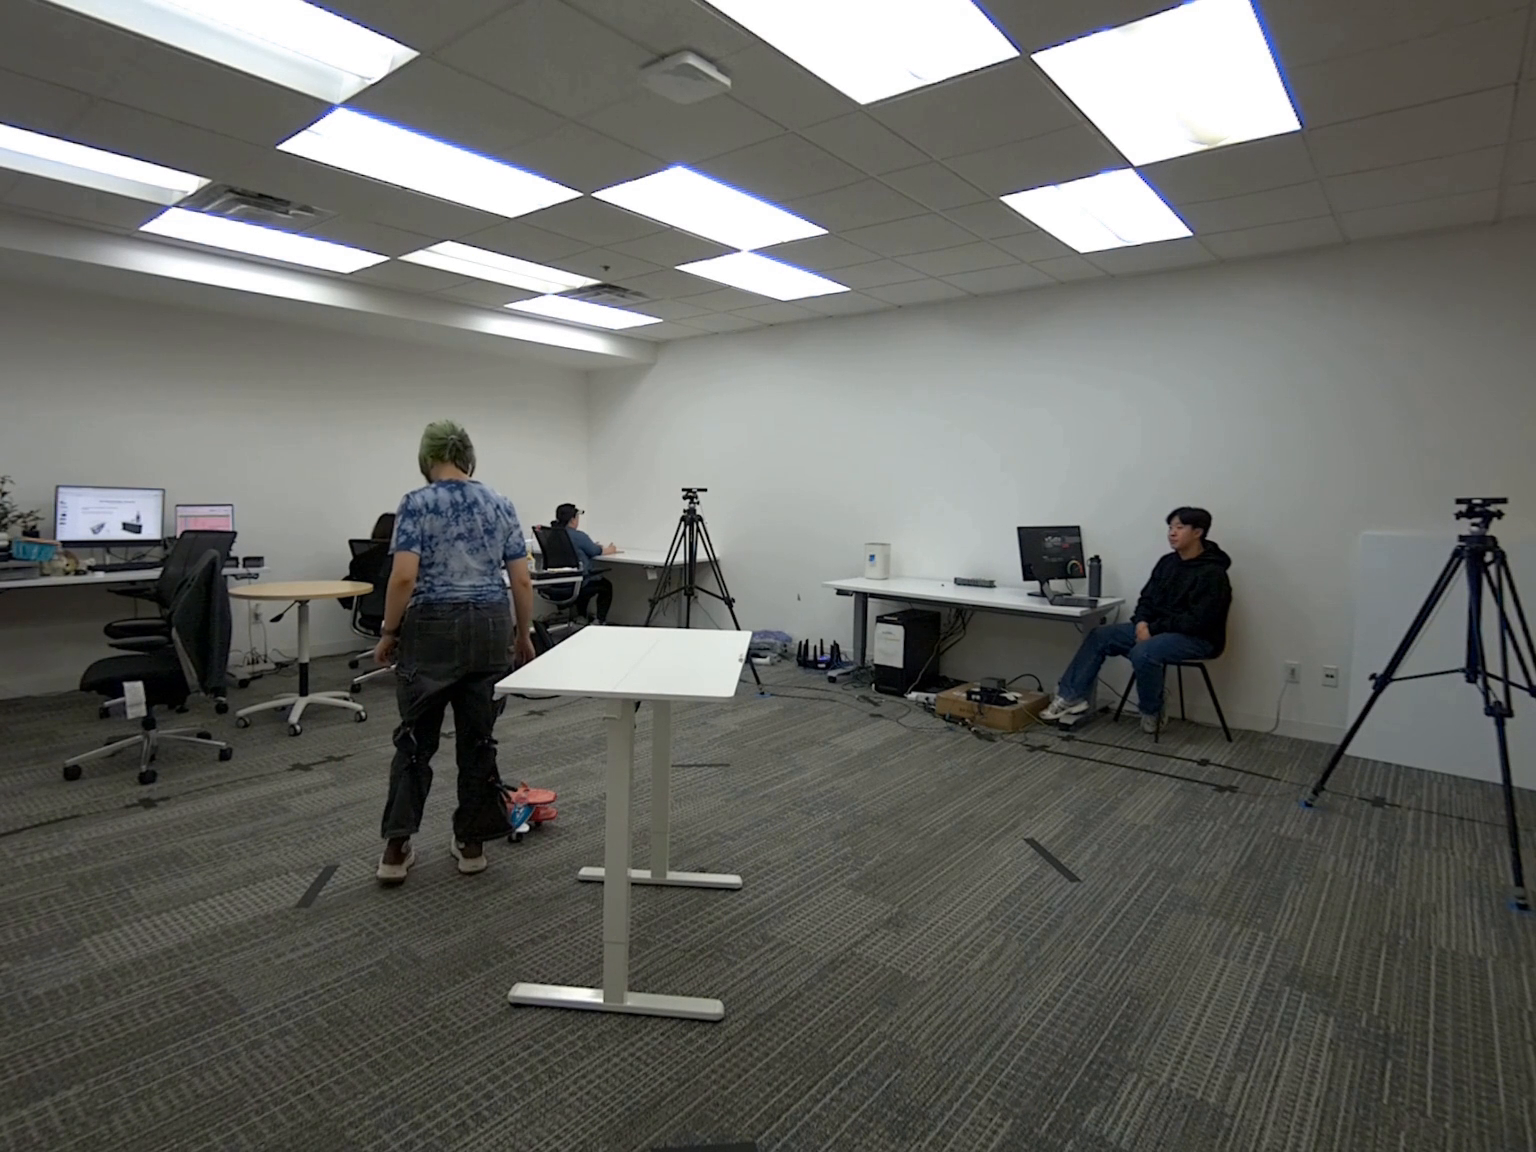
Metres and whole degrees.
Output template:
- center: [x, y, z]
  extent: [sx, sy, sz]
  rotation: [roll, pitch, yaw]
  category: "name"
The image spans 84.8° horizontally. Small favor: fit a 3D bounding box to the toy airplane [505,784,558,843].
- center: [-0.985, 0.955, 3.417]
  extent: [0.245, 0.156, 0.266]
  rotation: [-2, 5, -24]
  category: "toy airplane"
